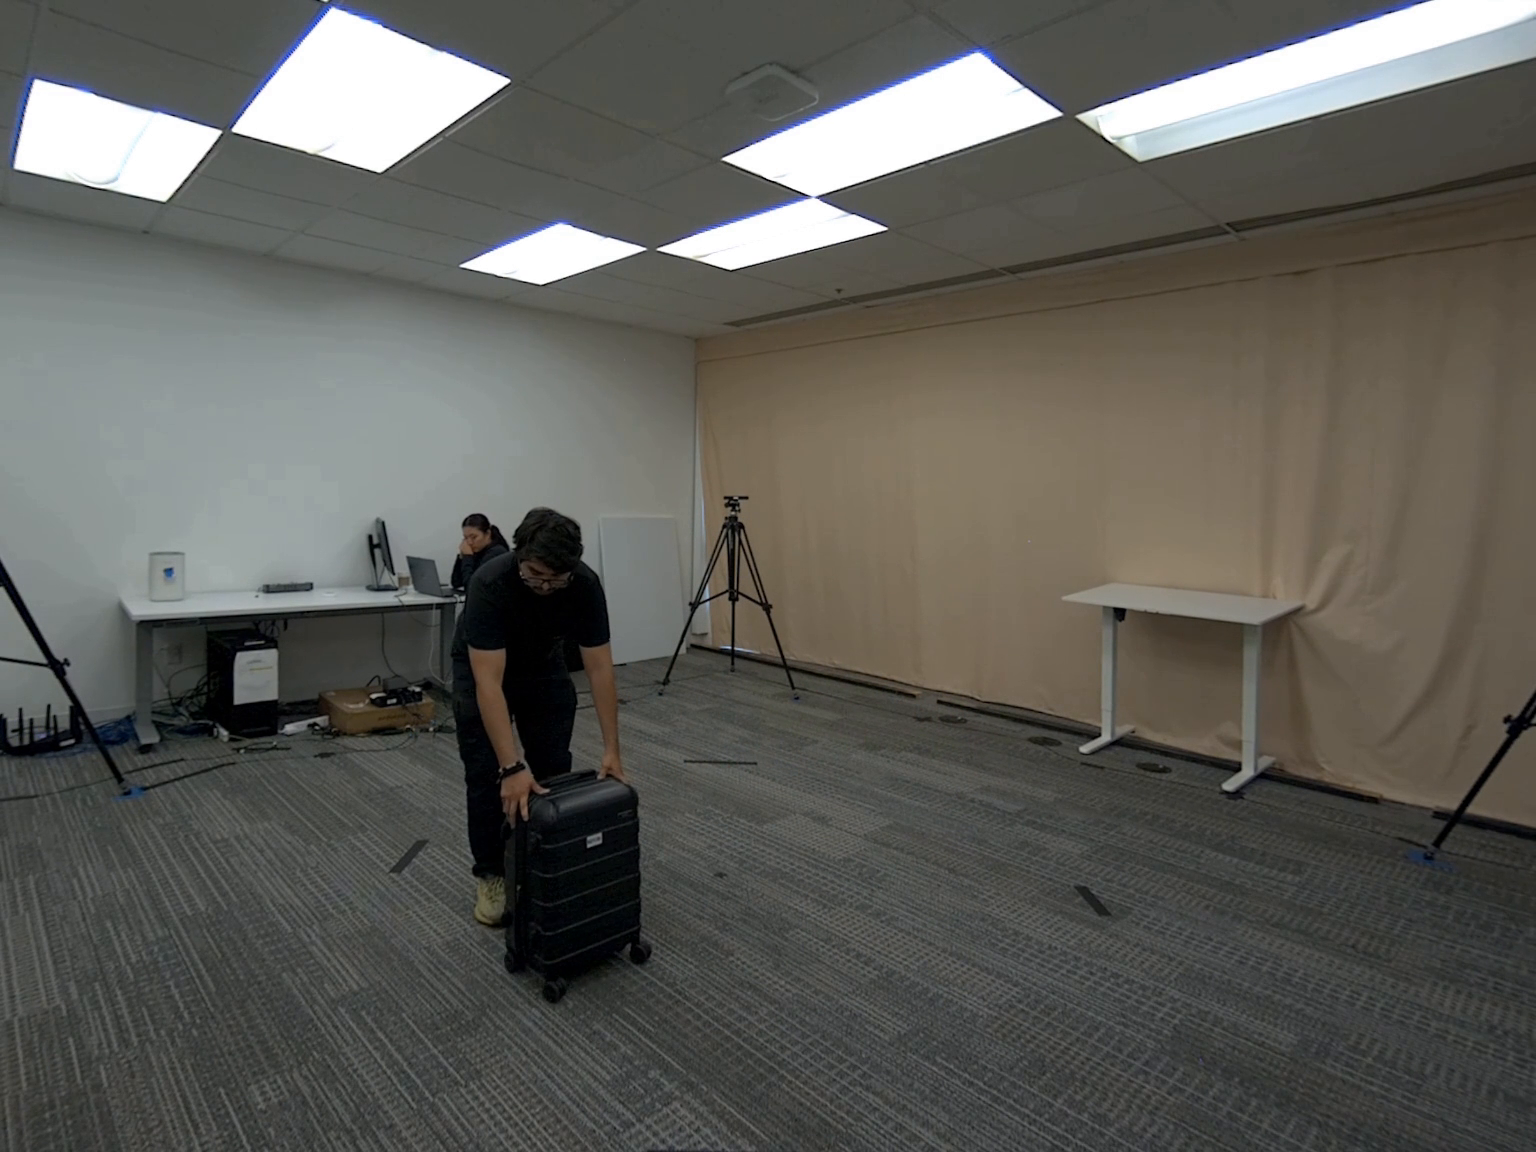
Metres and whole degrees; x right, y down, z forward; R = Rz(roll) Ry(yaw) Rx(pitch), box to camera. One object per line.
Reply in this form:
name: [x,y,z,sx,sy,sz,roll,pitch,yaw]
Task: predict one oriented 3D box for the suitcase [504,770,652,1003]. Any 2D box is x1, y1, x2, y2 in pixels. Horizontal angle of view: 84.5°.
suitcase: [-0.578,0.878,2.484,0.367,0.548,0.254,-3,3,-44]
